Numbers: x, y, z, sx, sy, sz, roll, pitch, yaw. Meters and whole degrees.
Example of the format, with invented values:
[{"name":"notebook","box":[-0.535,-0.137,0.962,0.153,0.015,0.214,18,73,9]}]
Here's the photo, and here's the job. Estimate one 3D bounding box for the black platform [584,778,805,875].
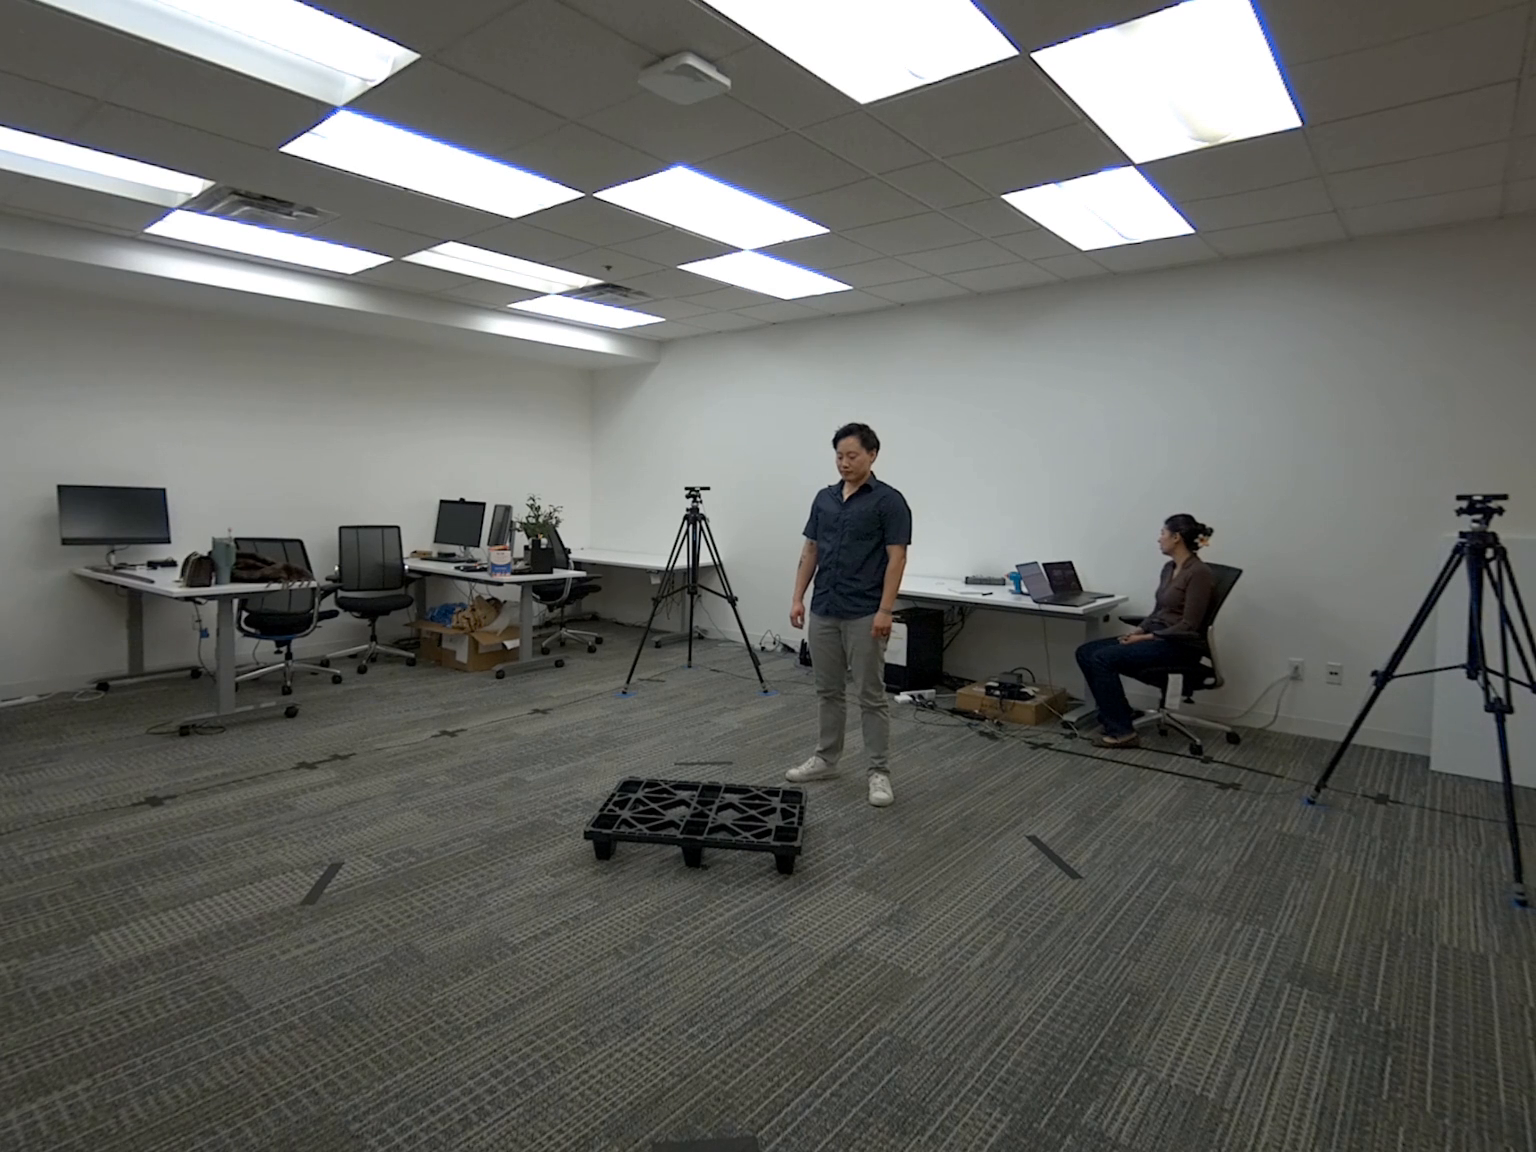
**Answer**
[{"name":"black platform","box":[-0.265,0.974,3.341,0.812,0.143,0.603,1,6,7]}]
